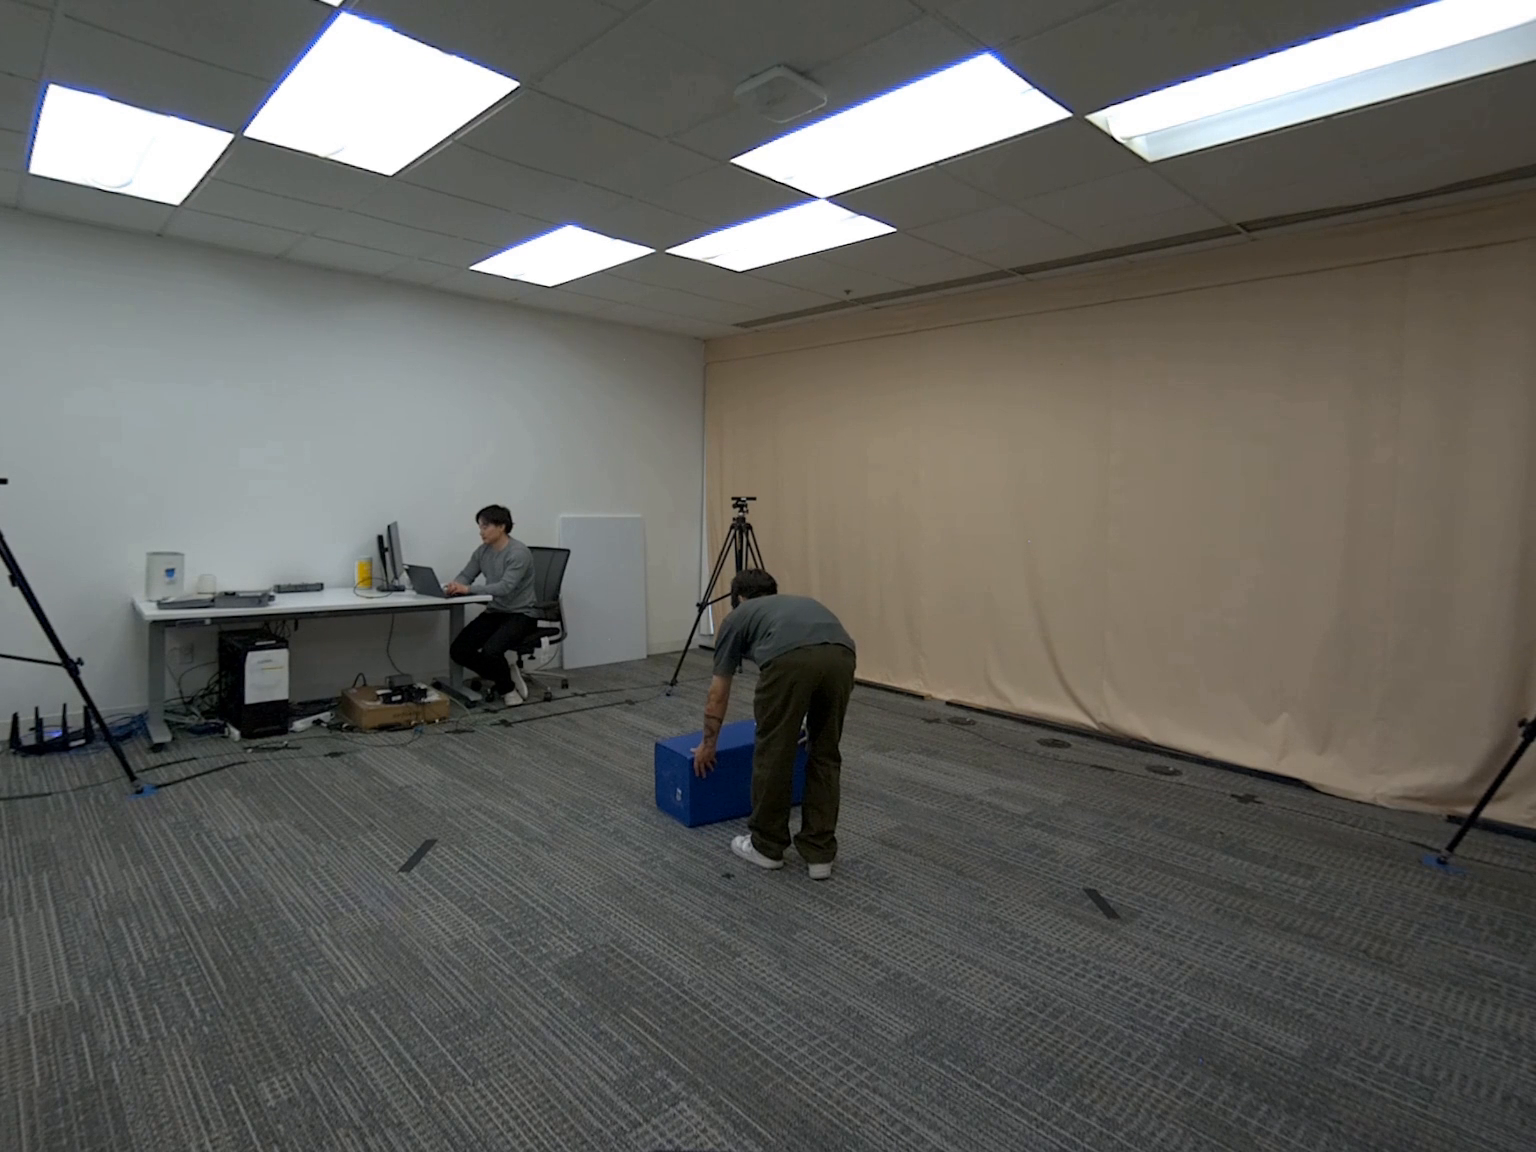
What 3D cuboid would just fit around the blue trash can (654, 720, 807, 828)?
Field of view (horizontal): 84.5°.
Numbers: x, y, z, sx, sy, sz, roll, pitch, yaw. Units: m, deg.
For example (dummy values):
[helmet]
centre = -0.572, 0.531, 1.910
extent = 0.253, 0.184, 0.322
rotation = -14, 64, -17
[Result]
[blue trash can]
centre = -0.138, 0.869, 3.845
extent = 0.698, 0.373, 0.387
rotation = -3, 6, -35
